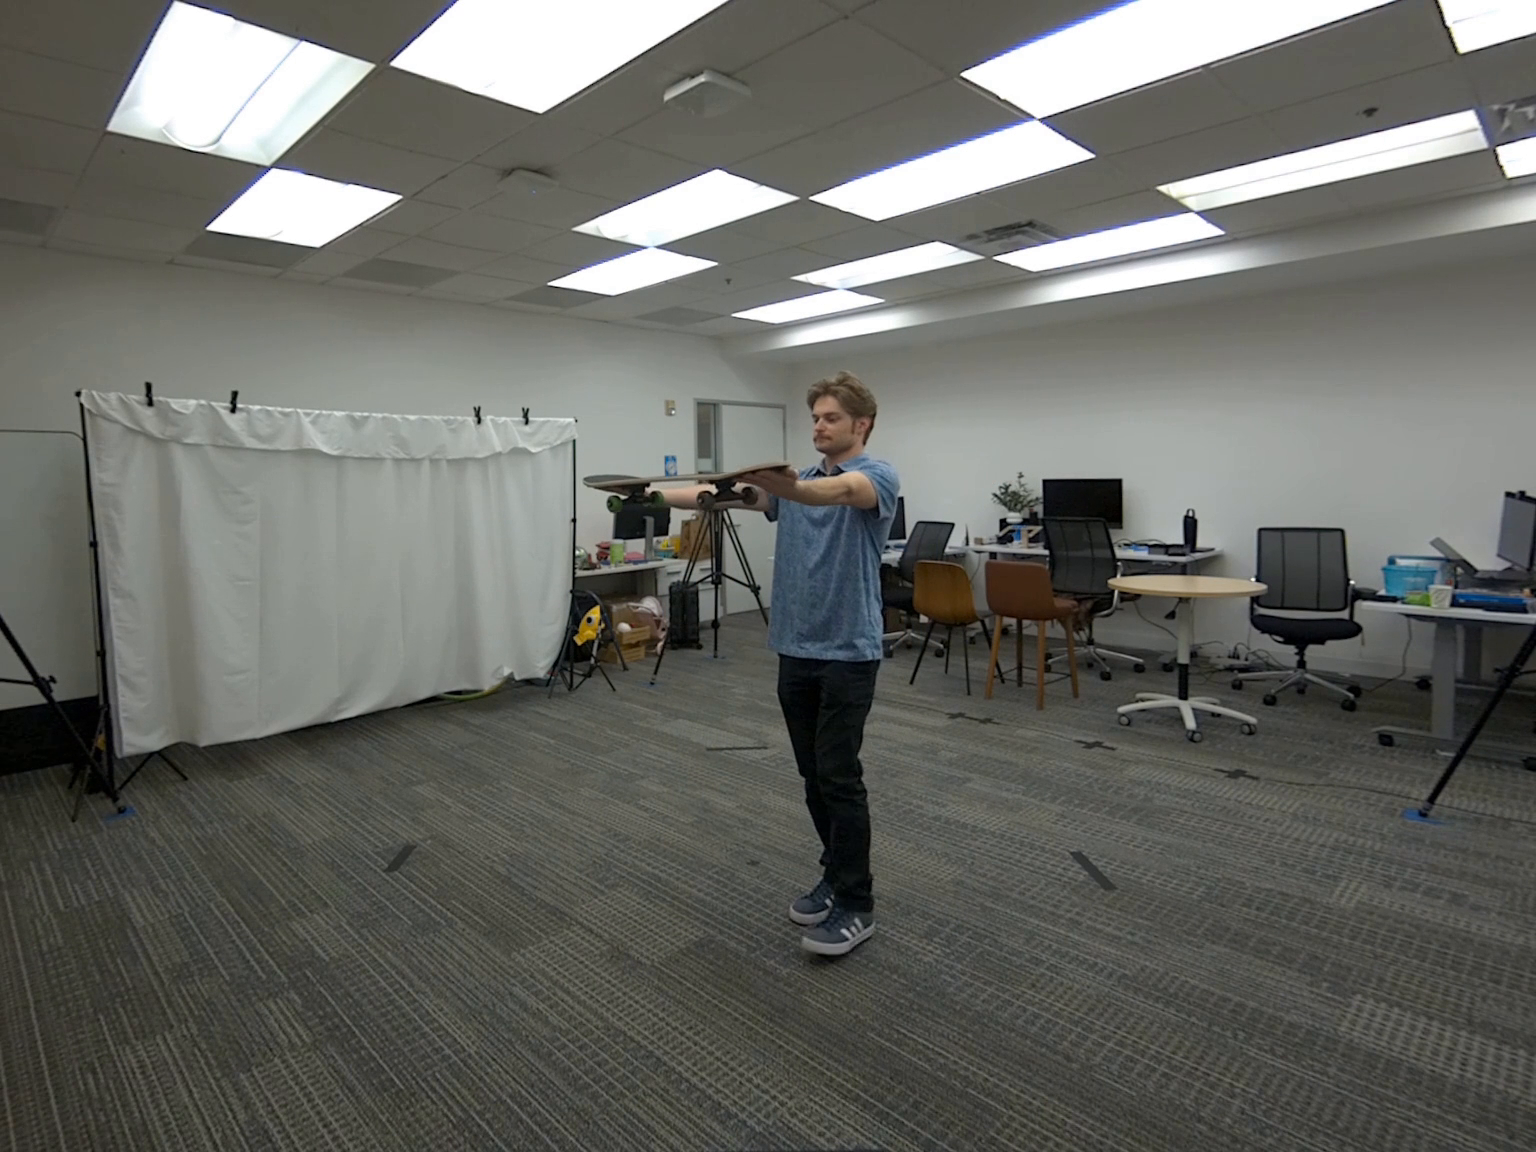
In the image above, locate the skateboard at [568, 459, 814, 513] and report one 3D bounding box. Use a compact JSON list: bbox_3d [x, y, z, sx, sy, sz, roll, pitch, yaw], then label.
[{"bbox_3d":[-0.238,-0.238,2.316,0.189,0.110,0.809,-9,9,-44],"label":"skateboard"}]
